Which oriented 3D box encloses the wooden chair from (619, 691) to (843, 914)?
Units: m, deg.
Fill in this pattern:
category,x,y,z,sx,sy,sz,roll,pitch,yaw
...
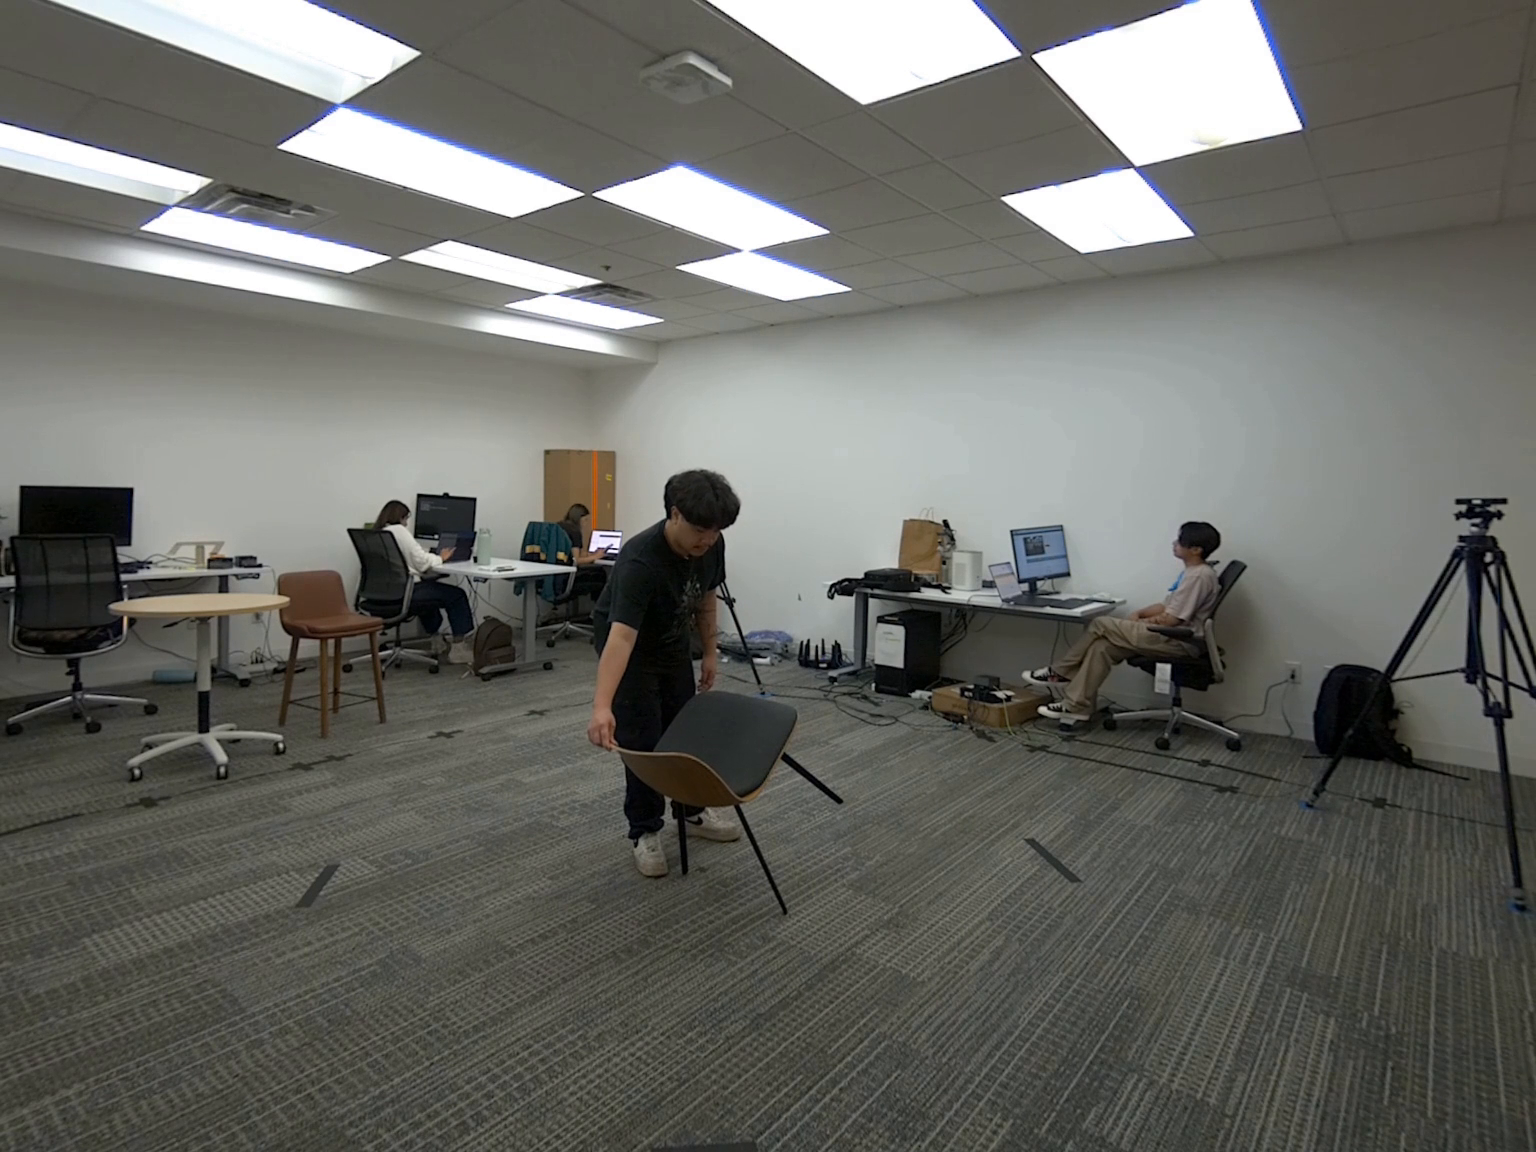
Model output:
category,x,y,z,sx,sy,sz,roll,pitch,yaw
wooden chair,-0.163,0.619,2.841,0.494,0.844,0.526,3,46,37
